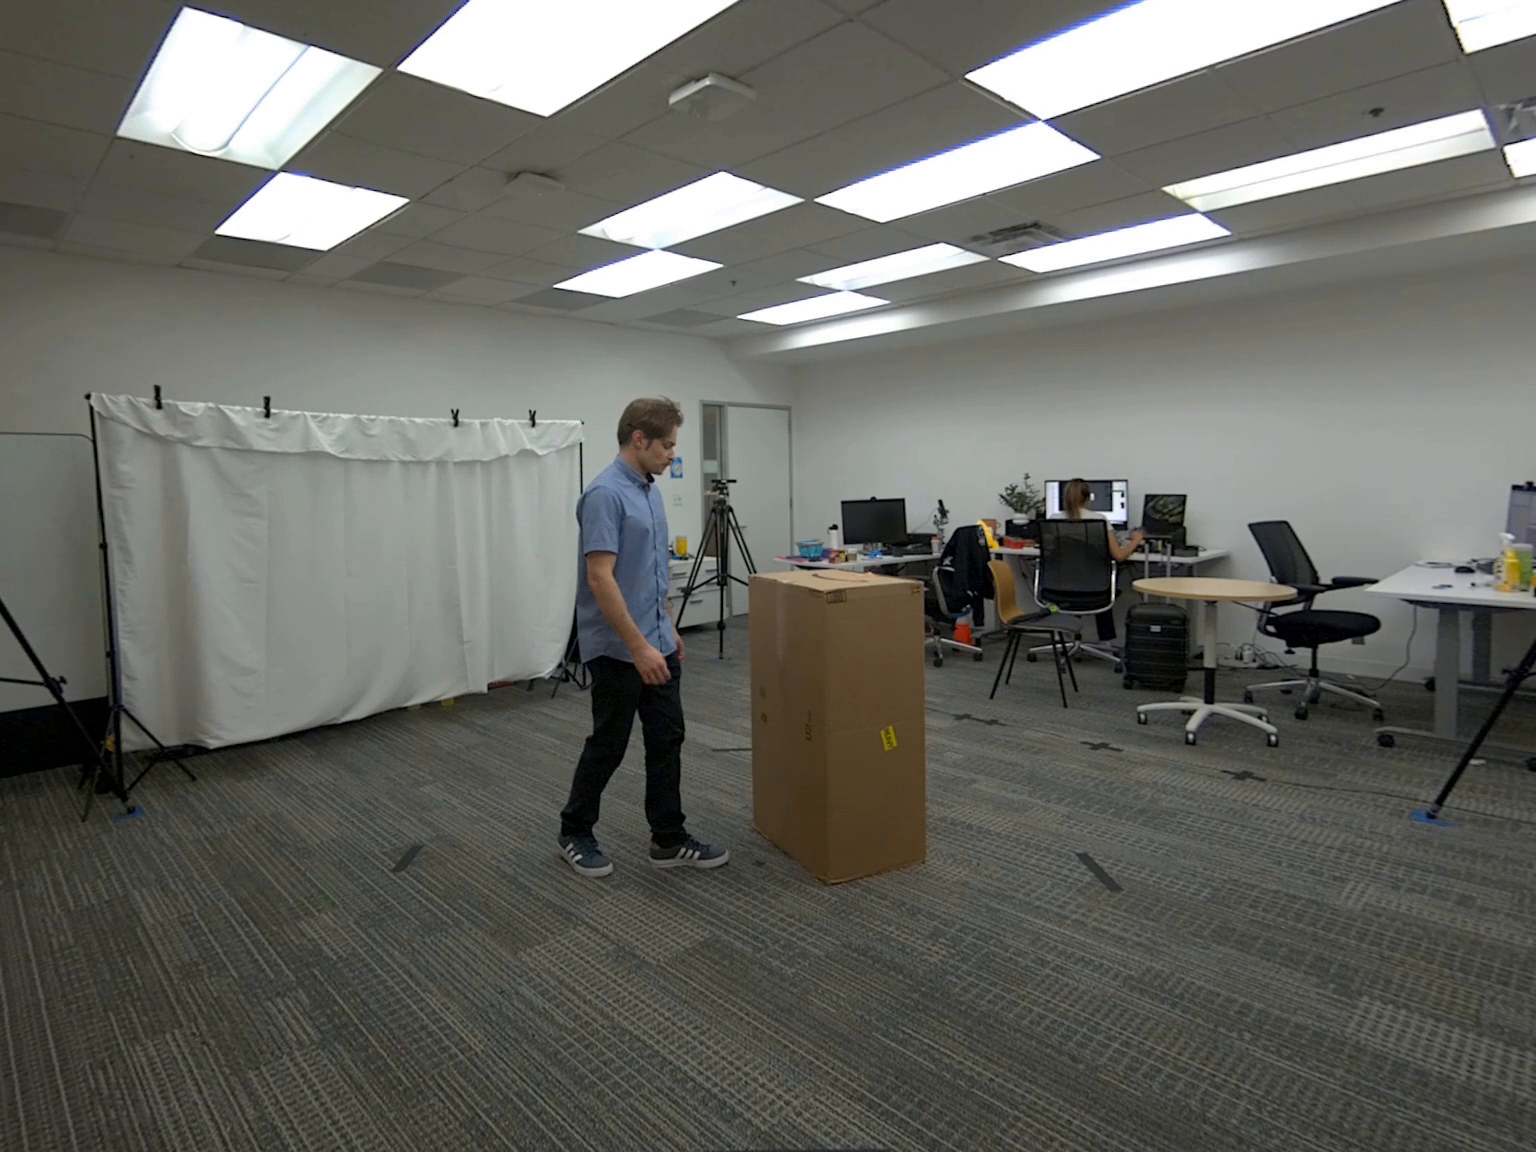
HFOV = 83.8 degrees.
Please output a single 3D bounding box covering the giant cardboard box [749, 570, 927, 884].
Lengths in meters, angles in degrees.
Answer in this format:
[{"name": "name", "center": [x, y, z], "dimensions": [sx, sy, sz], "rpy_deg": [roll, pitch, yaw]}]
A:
[{"name": "giant cardboard box", "center": [0.250, 0.515, 3.250], "dimensions": [0.417, 1.022, 0.592], "rpy_deg": [-3, 4, -27]}]
